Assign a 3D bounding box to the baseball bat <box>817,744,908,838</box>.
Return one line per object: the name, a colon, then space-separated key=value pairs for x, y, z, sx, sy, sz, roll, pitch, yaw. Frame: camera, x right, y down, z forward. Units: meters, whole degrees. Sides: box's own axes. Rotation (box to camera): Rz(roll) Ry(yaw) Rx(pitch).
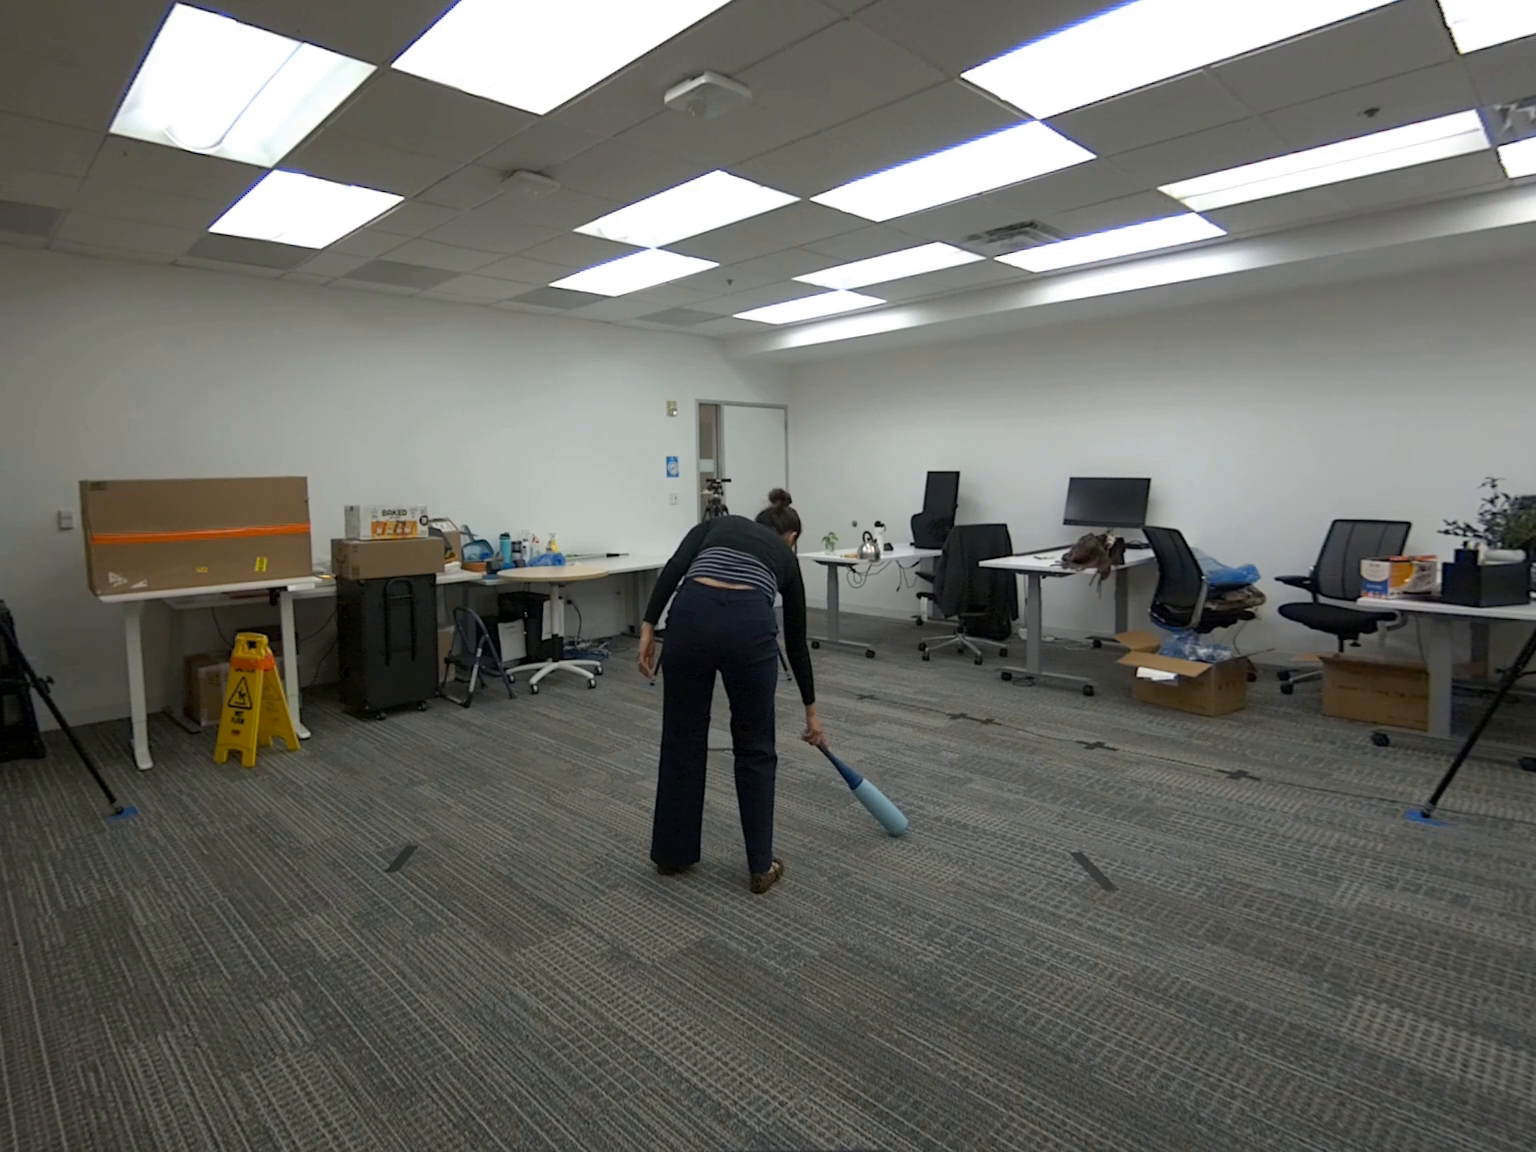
baseball bat: x=0.327 y=0.799 z=3.317 sx=0.089 sy=0.542 sz=0.089 roll=-45 pitch=1 yaw=1
